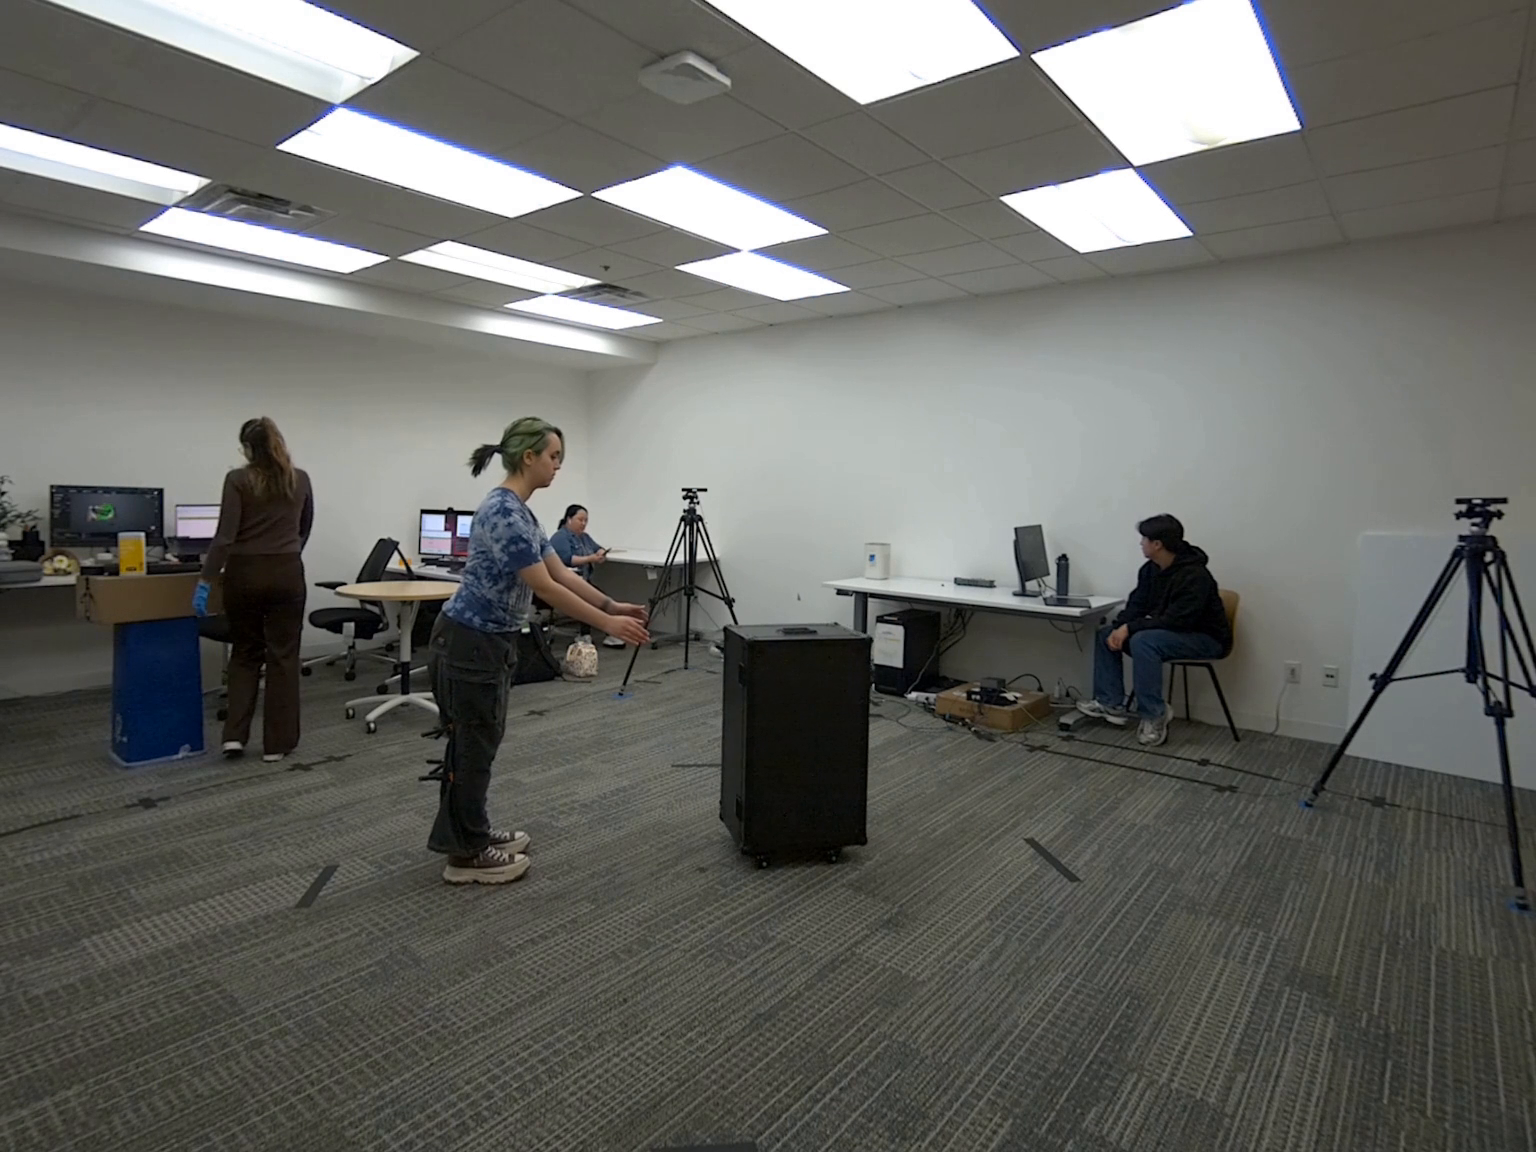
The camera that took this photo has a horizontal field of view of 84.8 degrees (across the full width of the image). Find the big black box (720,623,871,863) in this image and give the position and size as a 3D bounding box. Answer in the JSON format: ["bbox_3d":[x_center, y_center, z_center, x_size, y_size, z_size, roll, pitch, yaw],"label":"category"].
[{"bbox_3d":[0.073,0.634,3.288,0.513,0.859,0.403,0,3,-15],"label":"big black box"}]
